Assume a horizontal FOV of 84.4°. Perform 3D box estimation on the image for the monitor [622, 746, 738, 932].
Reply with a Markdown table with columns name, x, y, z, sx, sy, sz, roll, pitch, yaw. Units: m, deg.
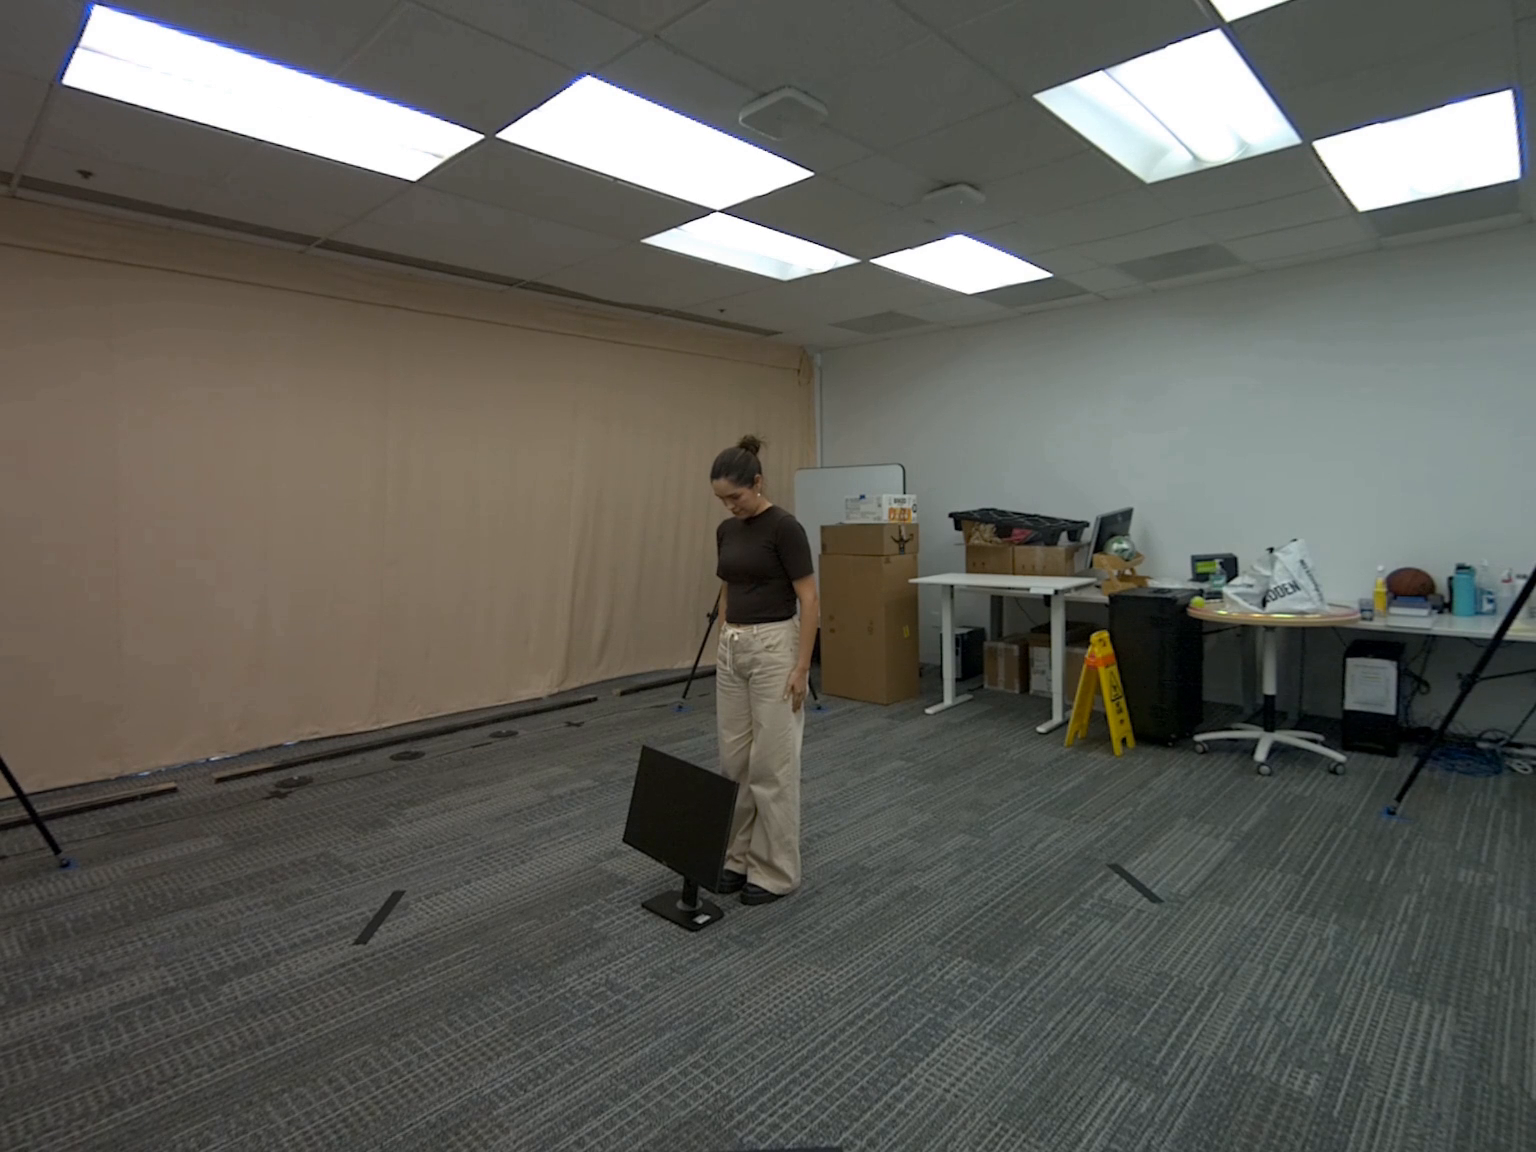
| name | x | y | z | sx | sy | sz | roll | pitch | yaw |
| --- | --- | --- | --- | --- | --- | --- | --- | --- | --- |
| monitor | -0.283 | 0.902 | 2.896 | 0.181 | 0.522 | 0.557 | -2 | 4 | -44 |
